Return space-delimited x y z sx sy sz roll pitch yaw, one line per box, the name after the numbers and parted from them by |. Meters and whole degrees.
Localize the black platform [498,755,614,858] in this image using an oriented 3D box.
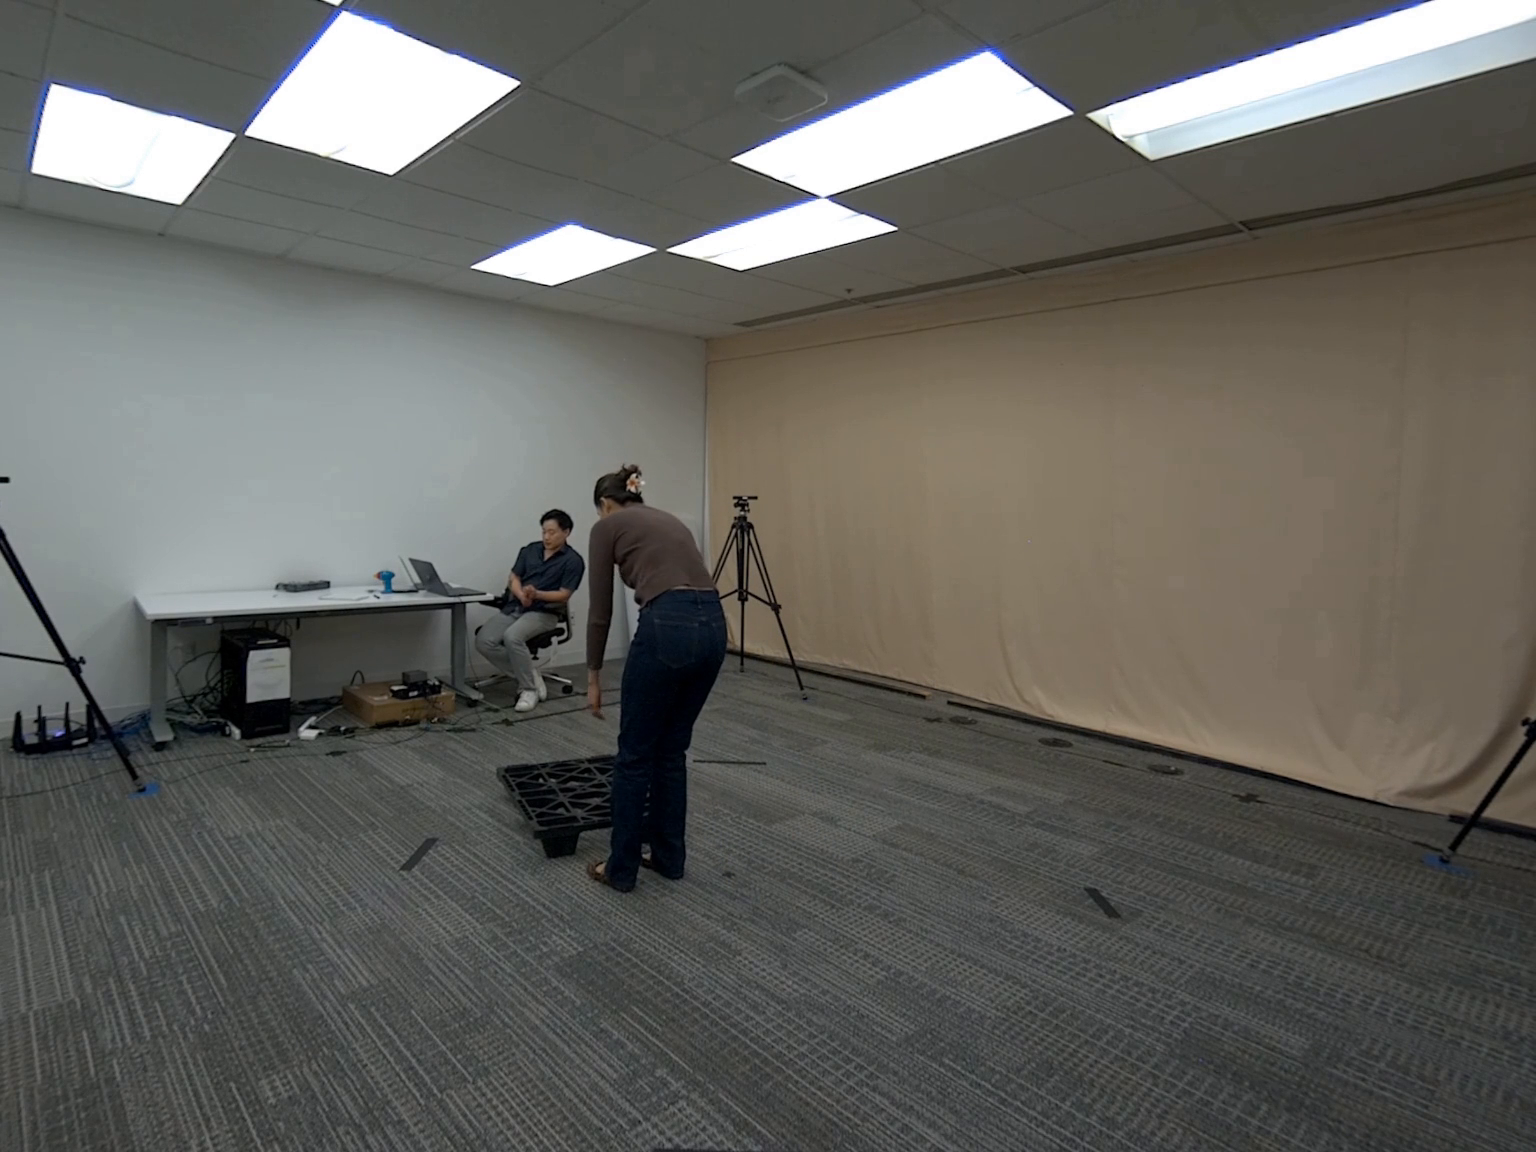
-0.808 0.975 3.623 0.594 0.143 0.823 -2 6 -27 | black platform
